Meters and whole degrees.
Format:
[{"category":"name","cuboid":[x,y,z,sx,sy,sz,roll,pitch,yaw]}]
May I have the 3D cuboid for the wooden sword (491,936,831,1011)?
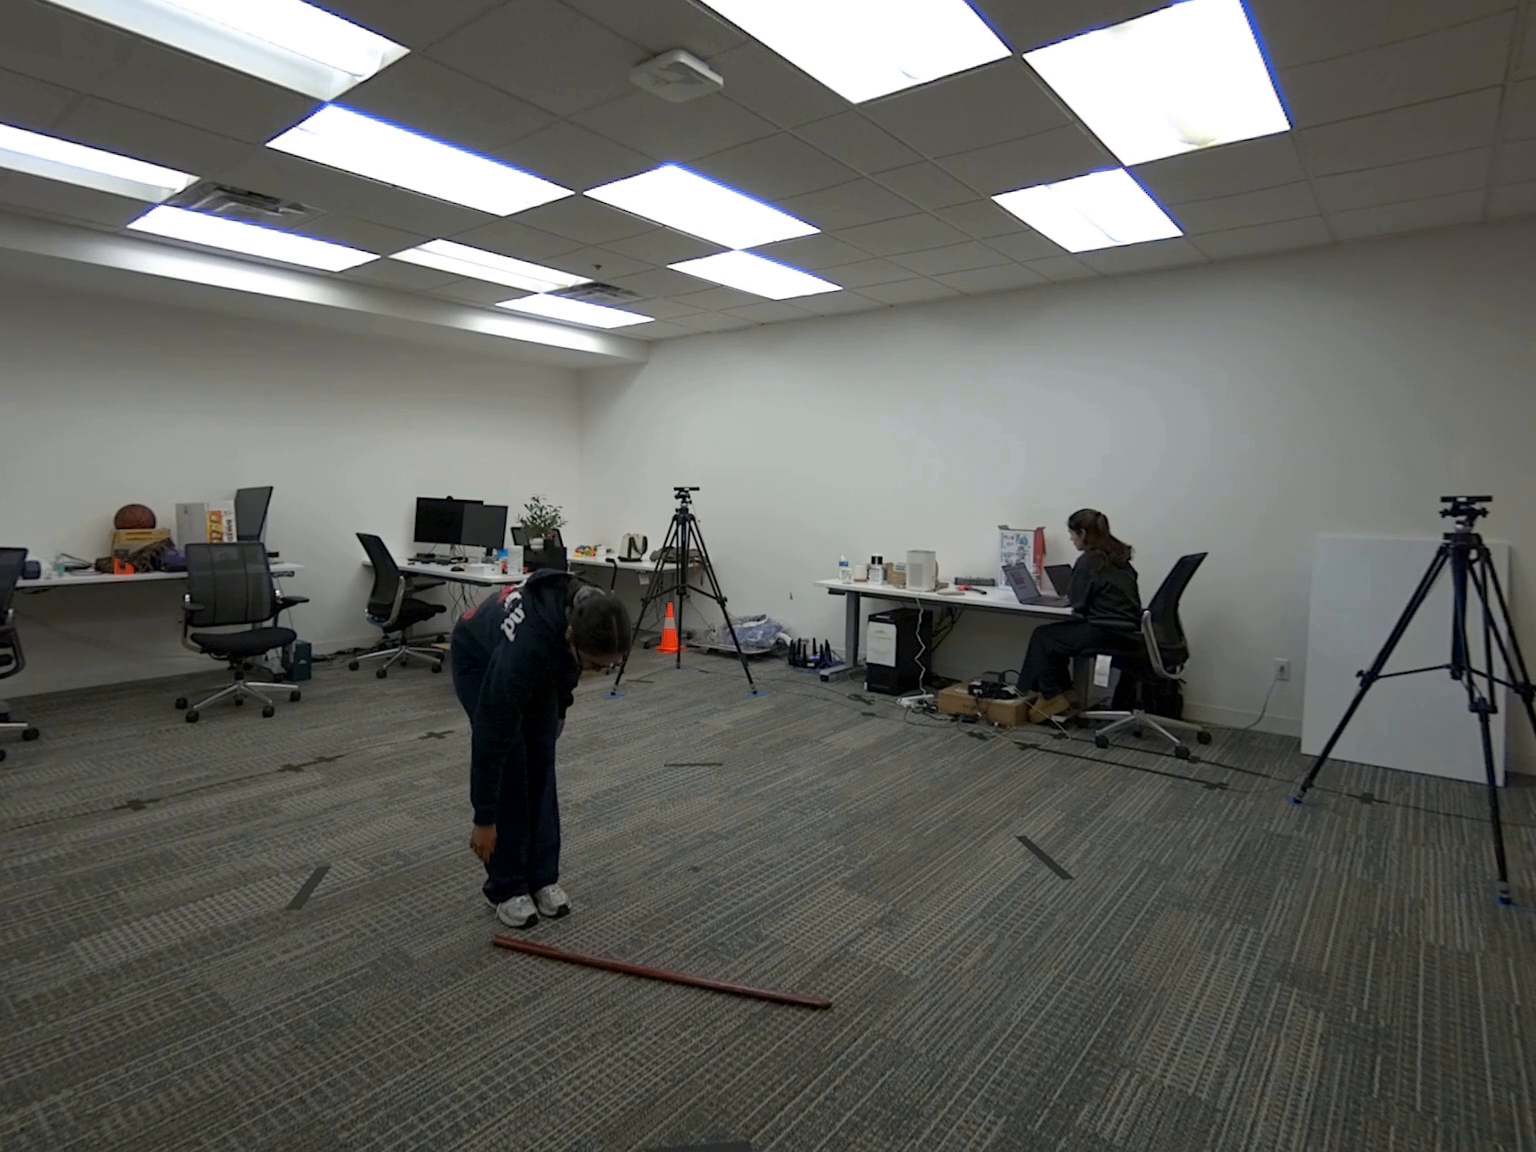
[{"category":"wooden sword","cuboid":[-0.358,1.110,2.426,1.043,0.024,0.051,3,9,16]}]
